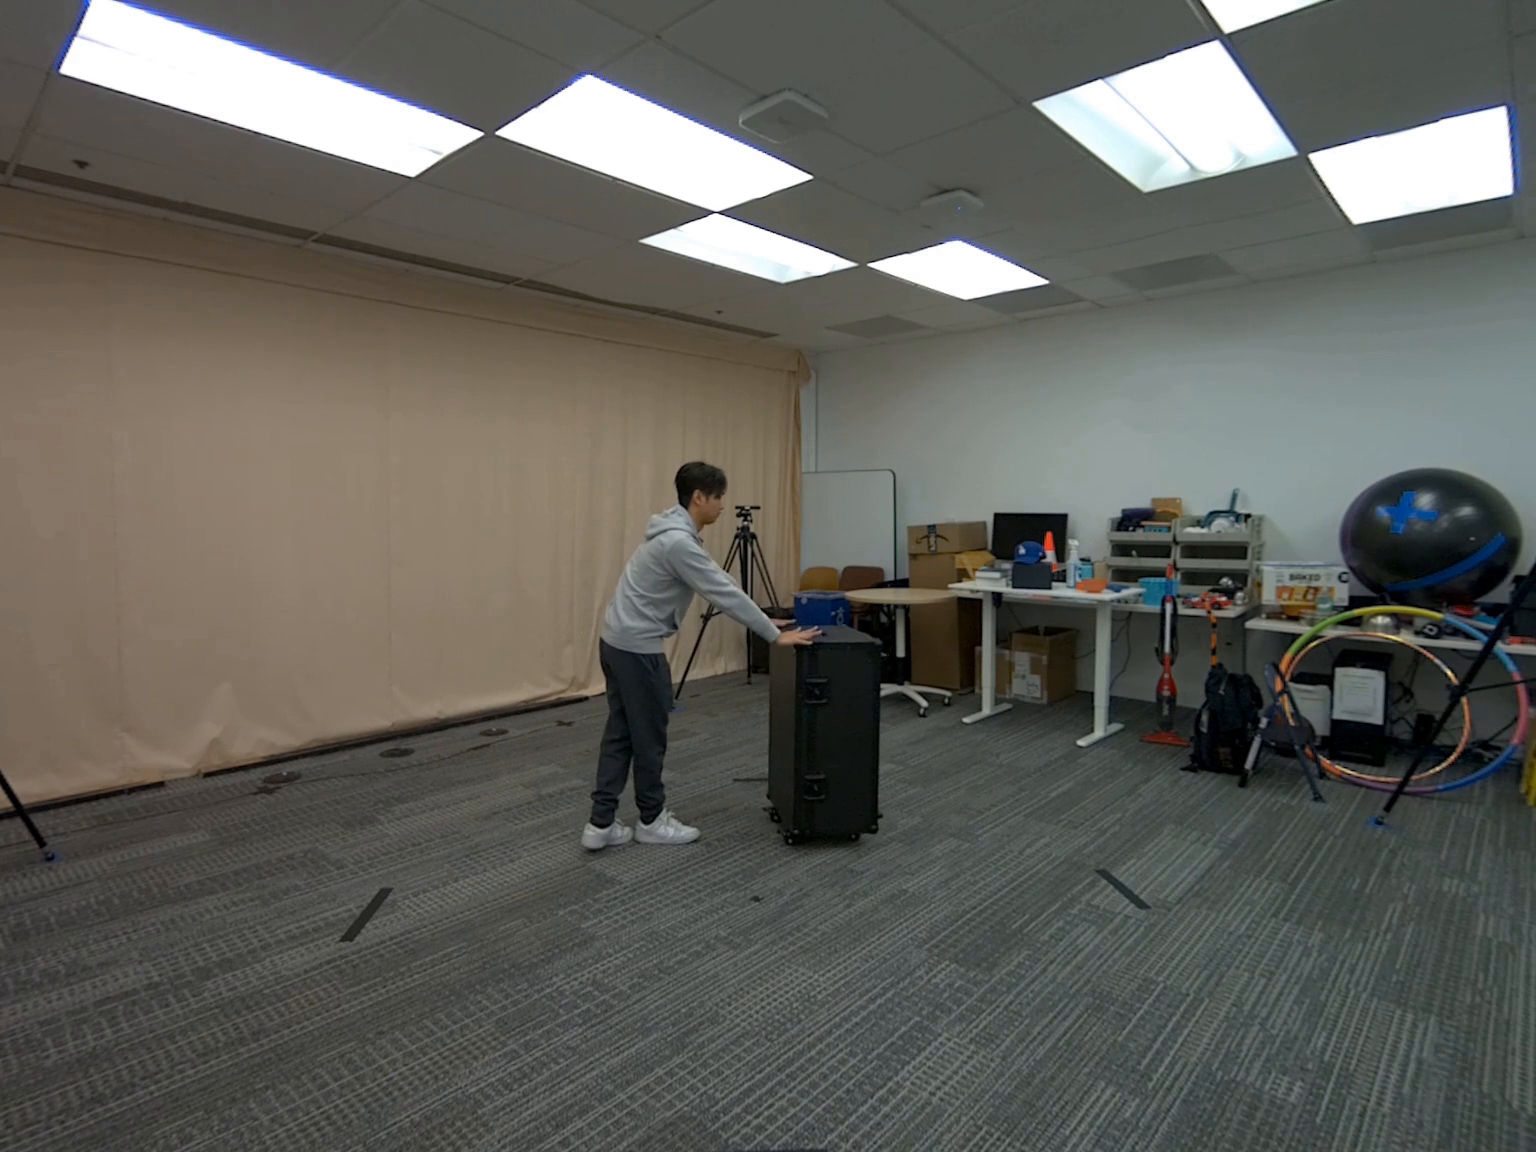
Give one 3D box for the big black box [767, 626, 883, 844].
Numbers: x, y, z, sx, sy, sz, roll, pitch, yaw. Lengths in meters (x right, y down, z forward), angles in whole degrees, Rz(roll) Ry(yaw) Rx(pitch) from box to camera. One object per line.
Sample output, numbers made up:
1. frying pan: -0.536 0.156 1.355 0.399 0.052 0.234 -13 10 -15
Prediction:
1. big black box: 0.236 0.669 3.603 0.392 0.860 0.528 2 2 -12
